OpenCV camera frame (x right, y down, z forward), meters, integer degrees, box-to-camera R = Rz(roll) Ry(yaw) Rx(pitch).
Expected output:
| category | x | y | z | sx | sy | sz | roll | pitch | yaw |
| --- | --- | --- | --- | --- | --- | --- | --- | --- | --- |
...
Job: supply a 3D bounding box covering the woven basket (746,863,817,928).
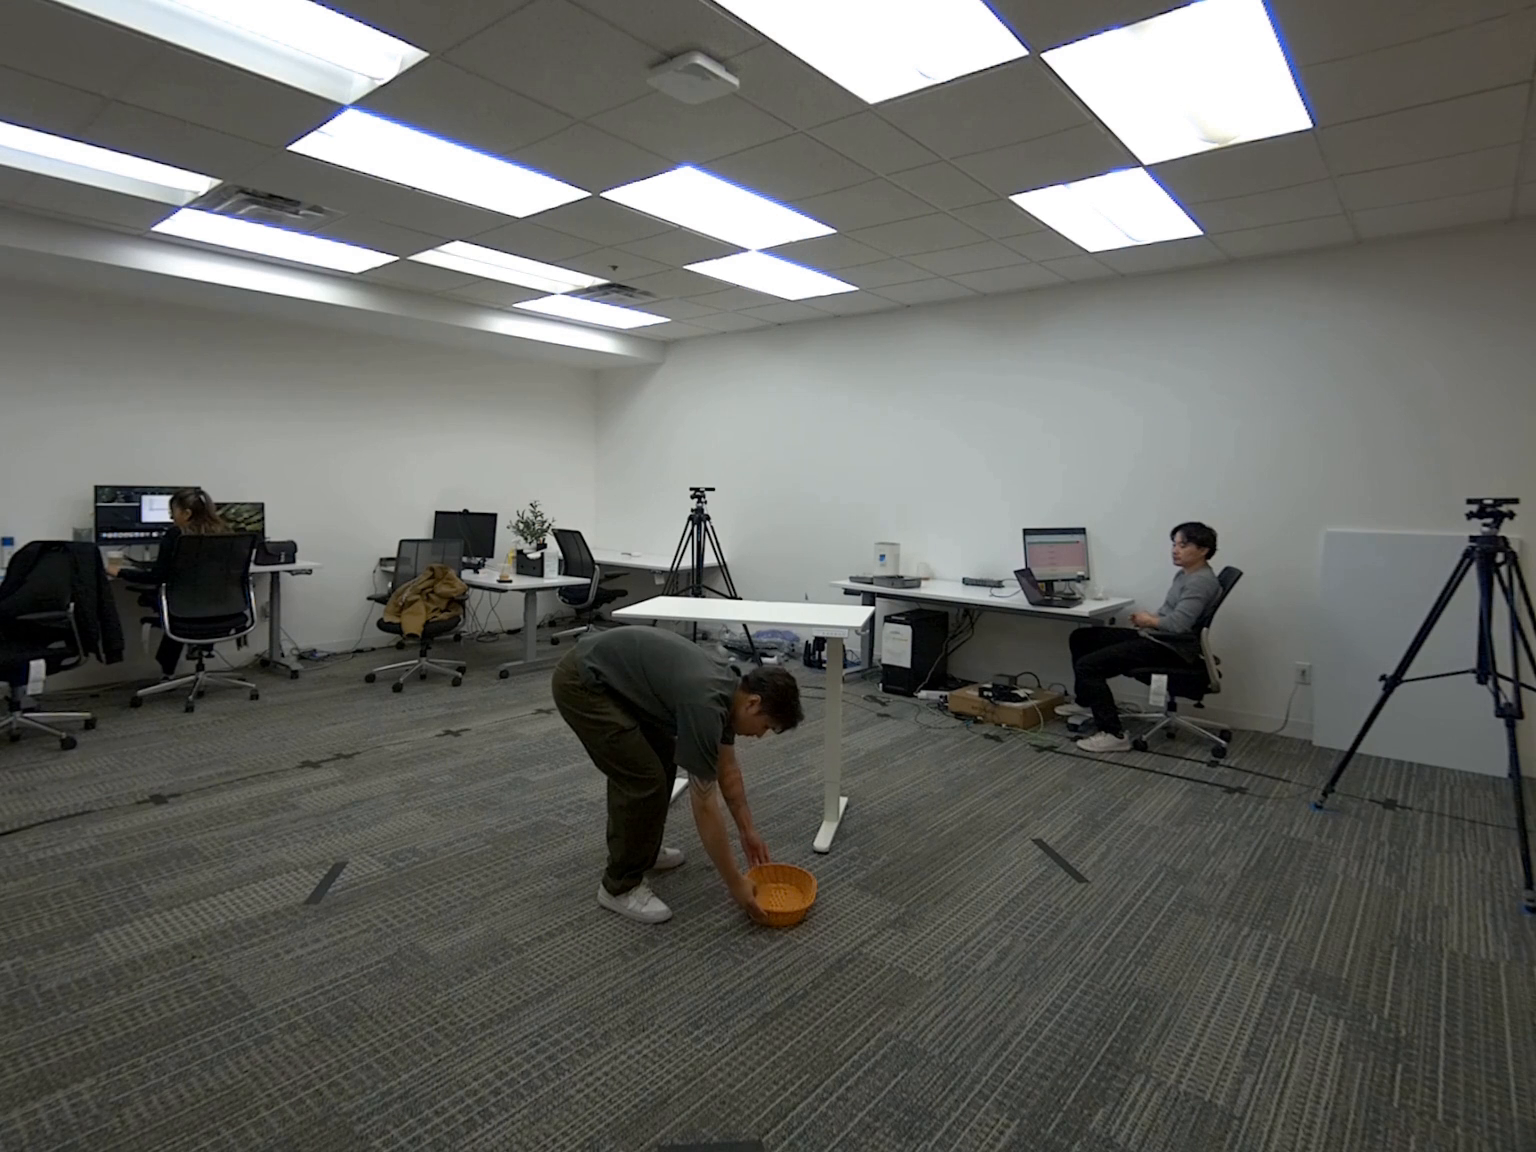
| category | x | y | z | sx | sy | sz | roll | pitch | yaw |
| --- | --- | --- | --- | --- | --- | --- | --- | --- | --- |
| woven basket | 0.025 | 1.058 | 2.834 | 0.255 | 0.073 | 0.347 | 3 | 5 | 10 |
